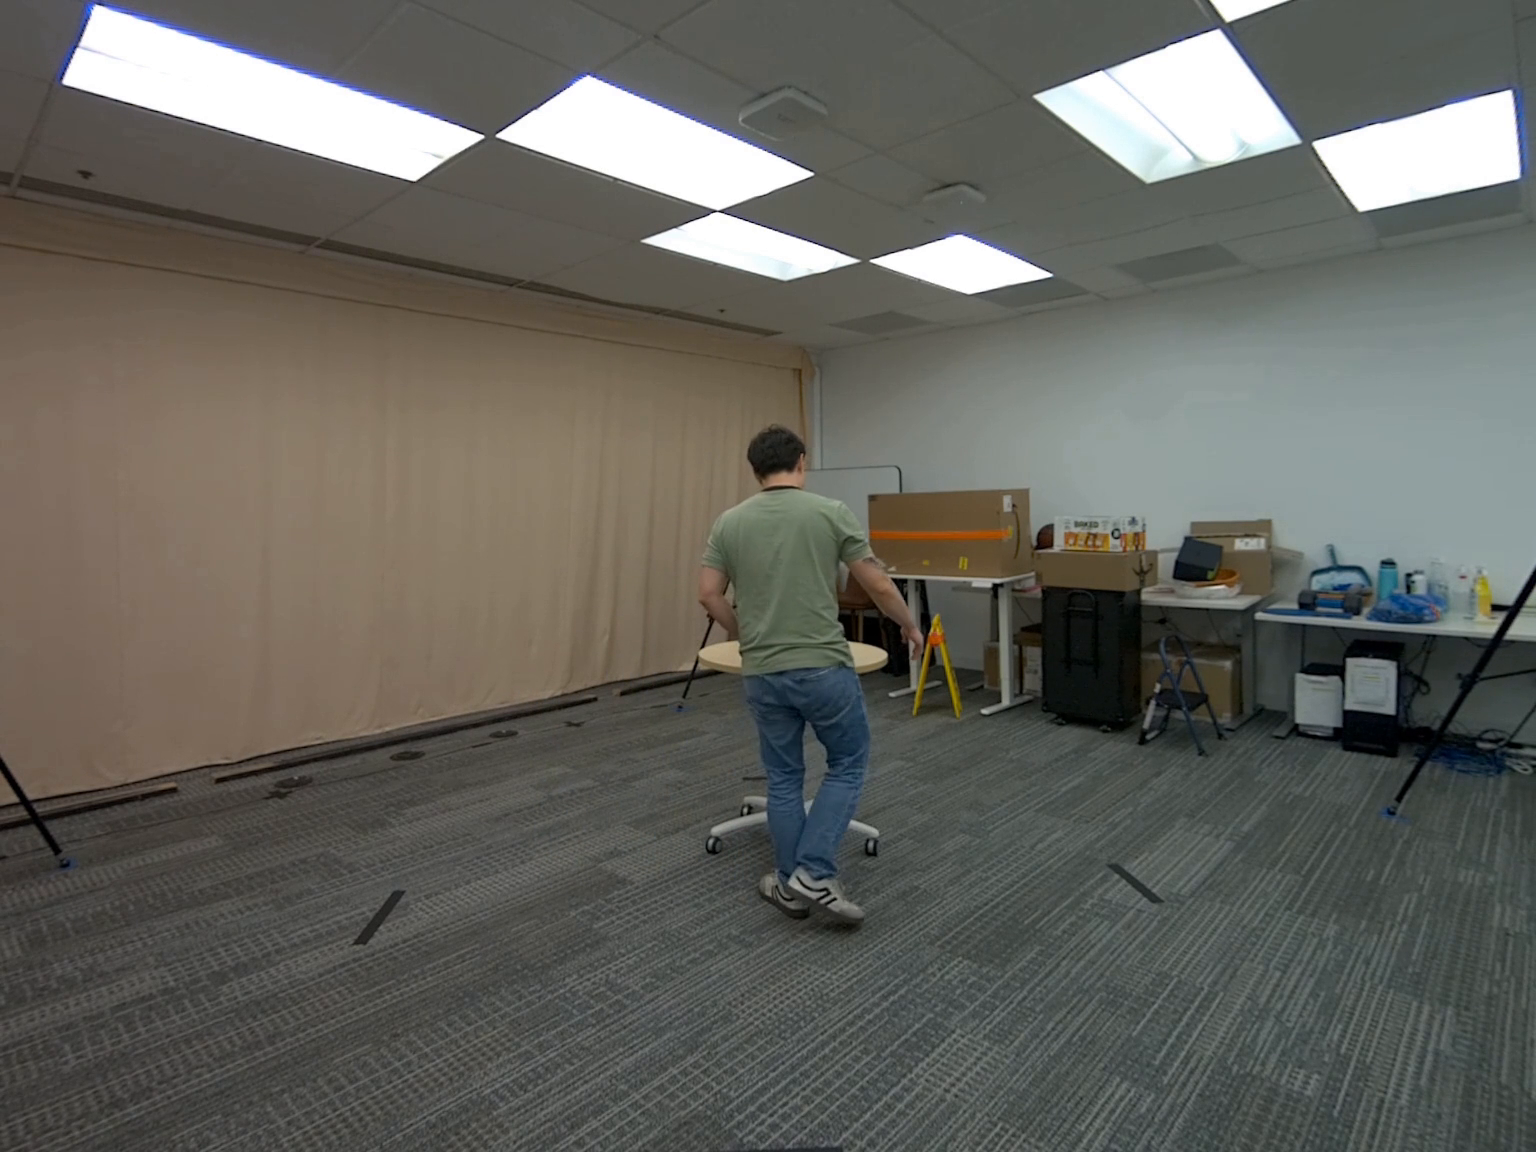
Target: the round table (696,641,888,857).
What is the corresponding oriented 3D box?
[{"bbox_3d":[0.108,0.706,3.456,0.763,0.792,0.766,-1,4,-2],"label":"round table"}]
